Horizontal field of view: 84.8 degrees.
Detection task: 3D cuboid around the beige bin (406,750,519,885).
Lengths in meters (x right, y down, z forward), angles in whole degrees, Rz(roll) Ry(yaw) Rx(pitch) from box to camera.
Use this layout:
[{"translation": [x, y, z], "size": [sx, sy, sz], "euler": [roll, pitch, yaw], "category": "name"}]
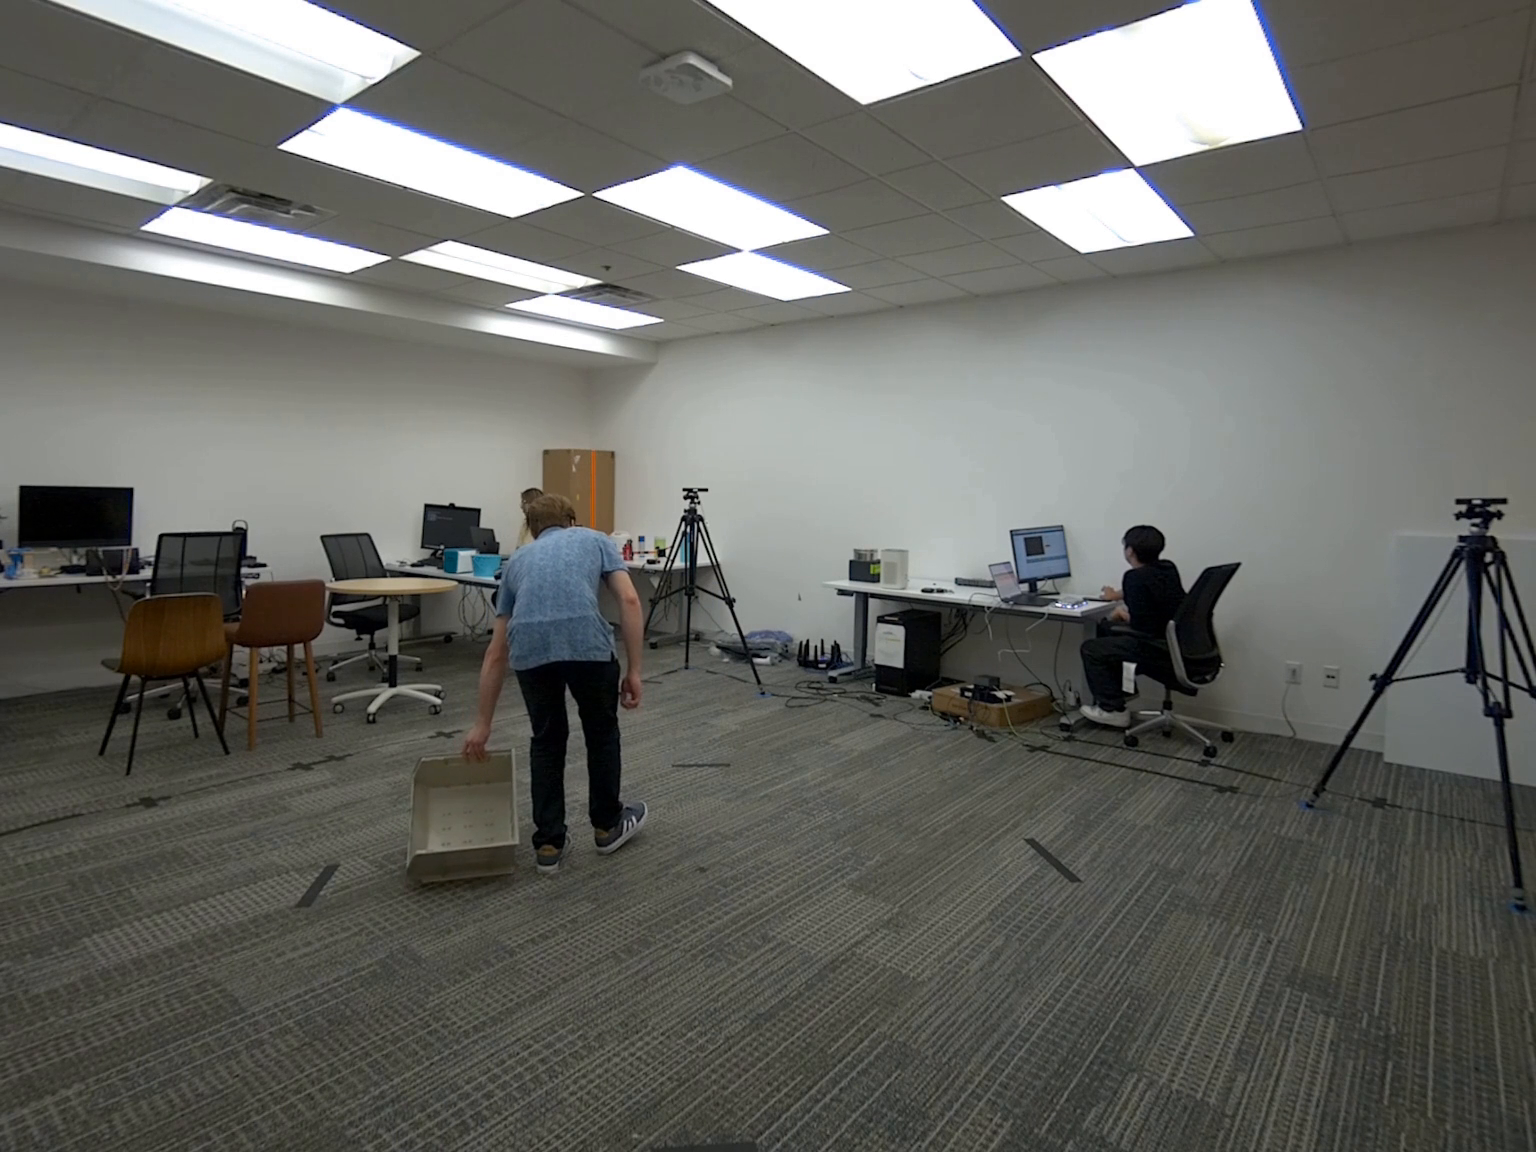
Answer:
[{"translation": [-1.132, 0.872, 3.109], "size": [0.371, 0.185, 0.438], "euler": [-1, 37, -17], "category": "beige bin"}]
